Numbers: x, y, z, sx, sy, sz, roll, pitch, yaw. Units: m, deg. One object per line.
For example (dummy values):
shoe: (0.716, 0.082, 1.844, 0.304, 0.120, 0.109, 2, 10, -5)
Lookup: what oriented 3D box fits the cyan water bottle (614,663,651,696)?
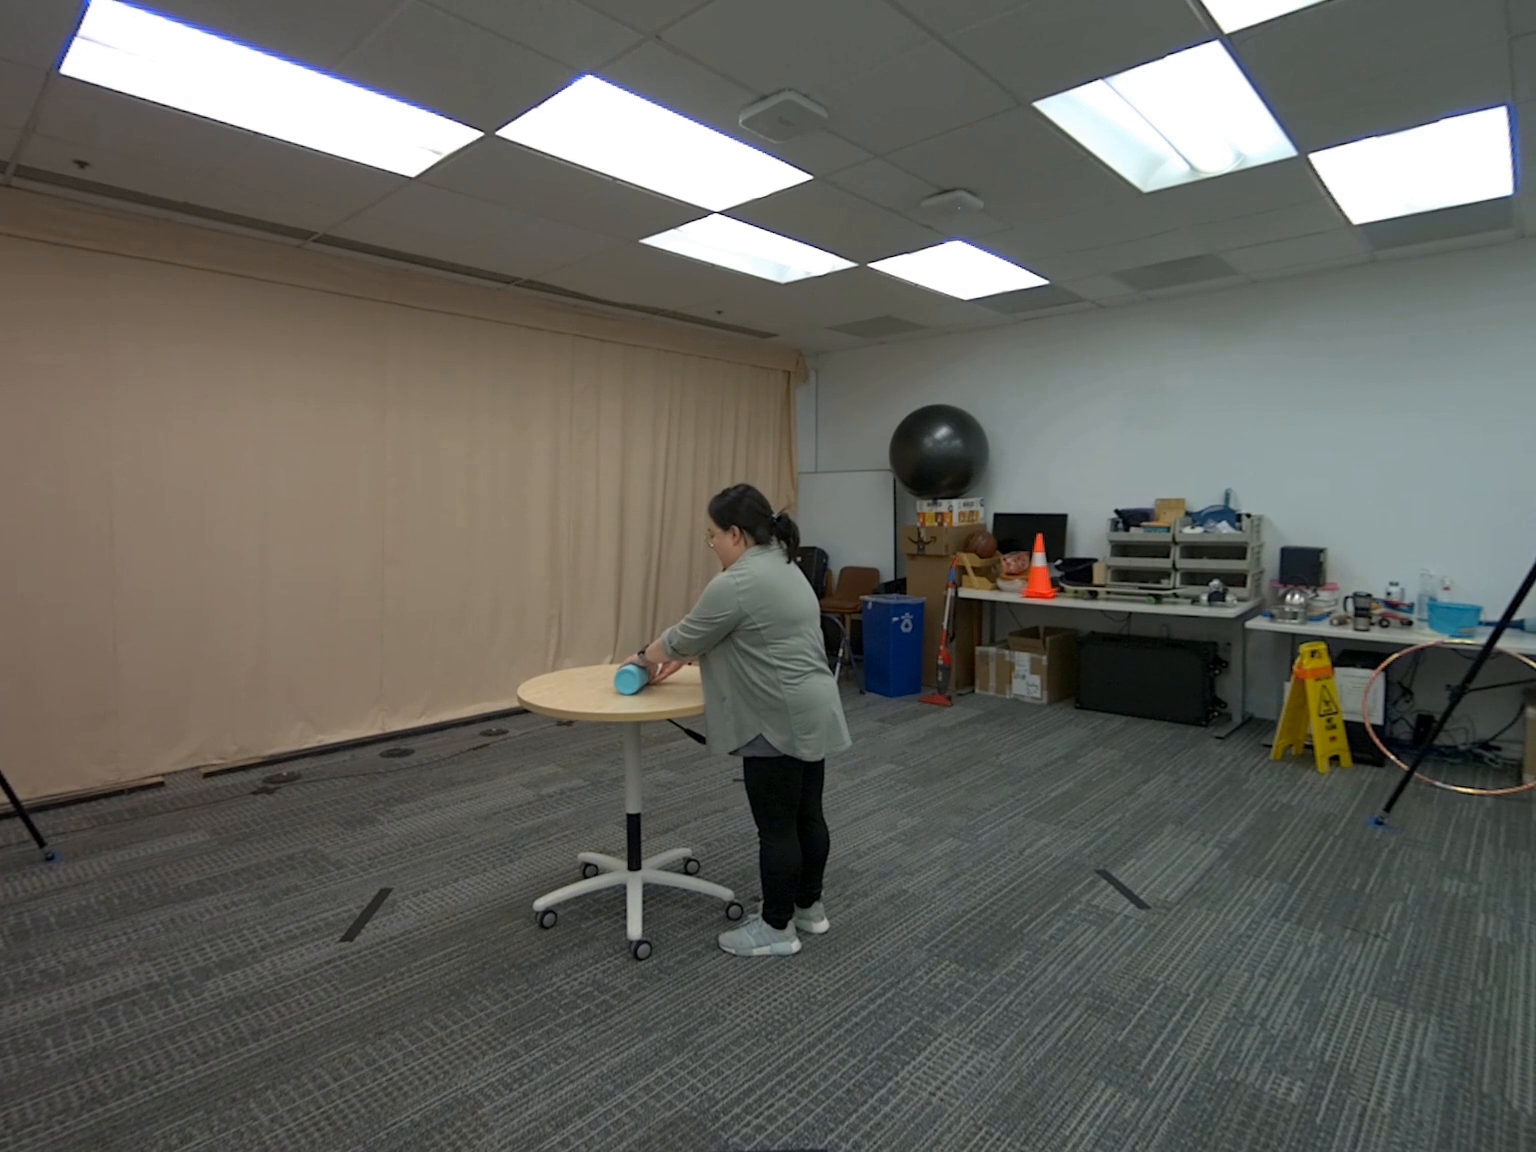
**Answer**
cyan water bottle: (-0.438, 0.327, 2.853, 0.093, 0.092, 0.282, 0, 4, 5)
